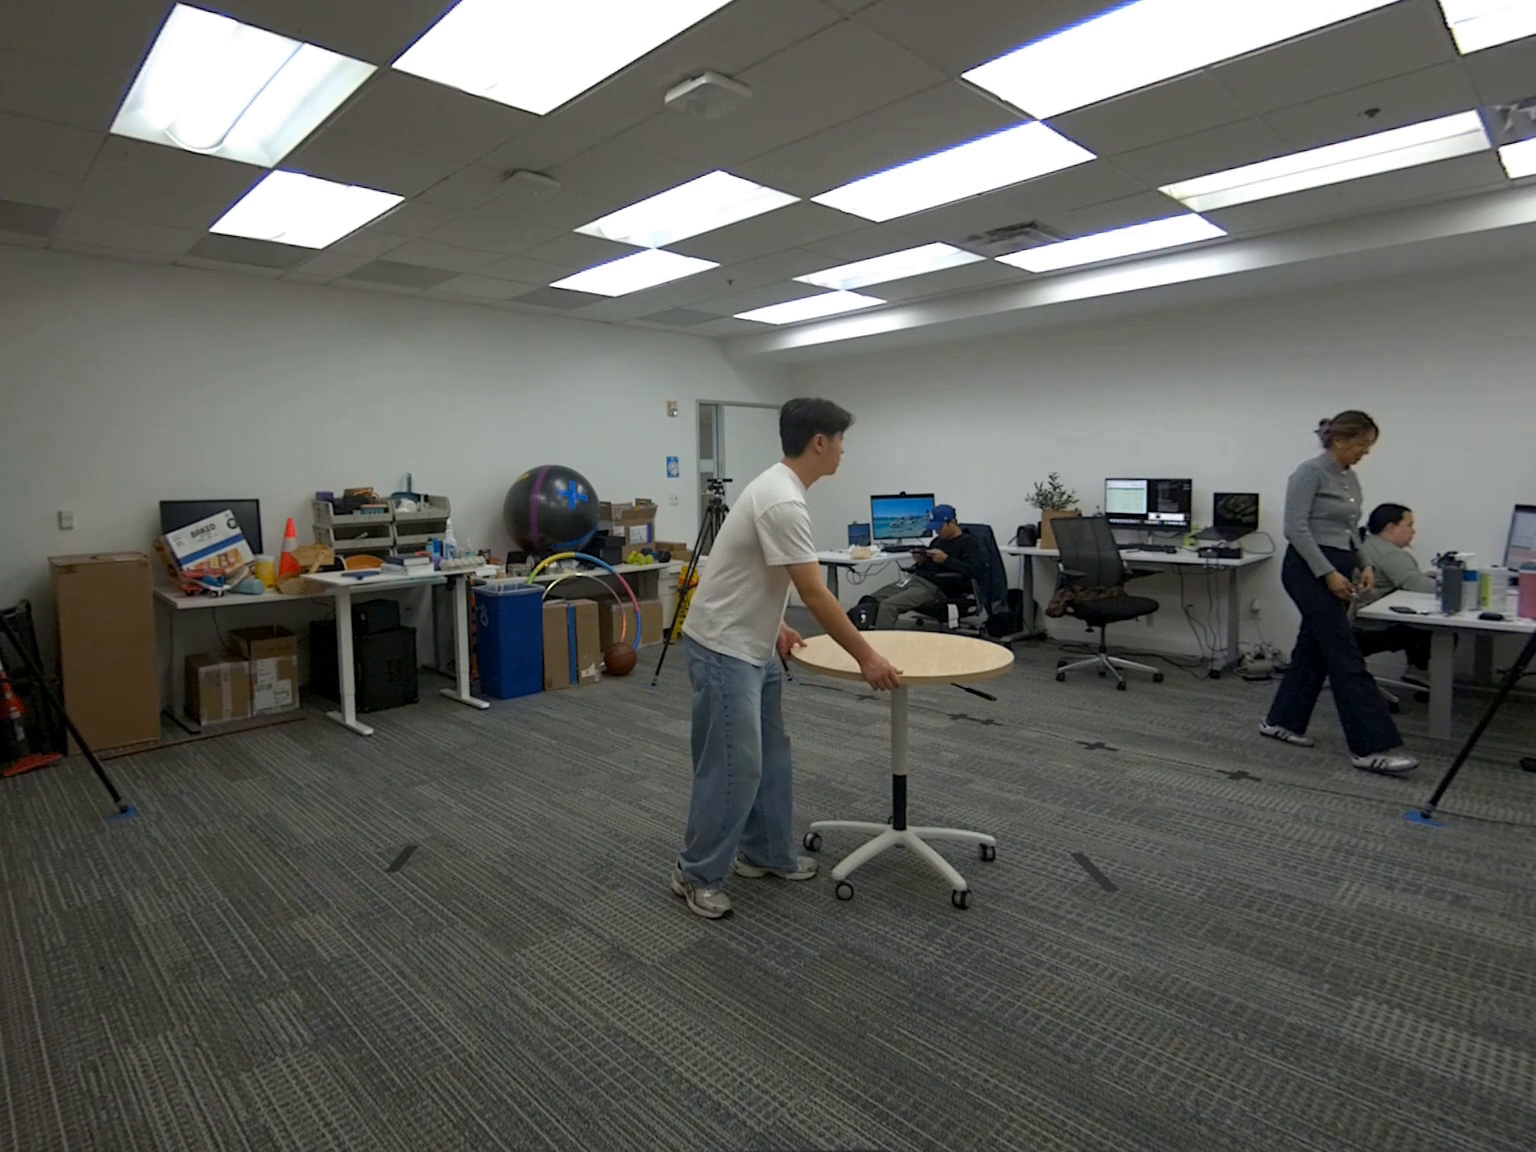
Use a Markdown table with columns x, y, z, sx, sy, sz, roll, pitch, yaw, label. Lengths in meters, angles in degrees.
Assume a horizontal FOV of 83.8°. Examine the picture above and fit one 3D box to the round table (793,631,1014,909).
| x | y | z | sx | sy | sz | roll | pitch | yaw | label |
| --- | --- | --- | --- | --- | --- | --- | --- | --- | --- |
| 0.470 | 0.650 | 3.024 | 0.784 | 0.784 | 0.789 | -1 | 5 | -2 | round table |
